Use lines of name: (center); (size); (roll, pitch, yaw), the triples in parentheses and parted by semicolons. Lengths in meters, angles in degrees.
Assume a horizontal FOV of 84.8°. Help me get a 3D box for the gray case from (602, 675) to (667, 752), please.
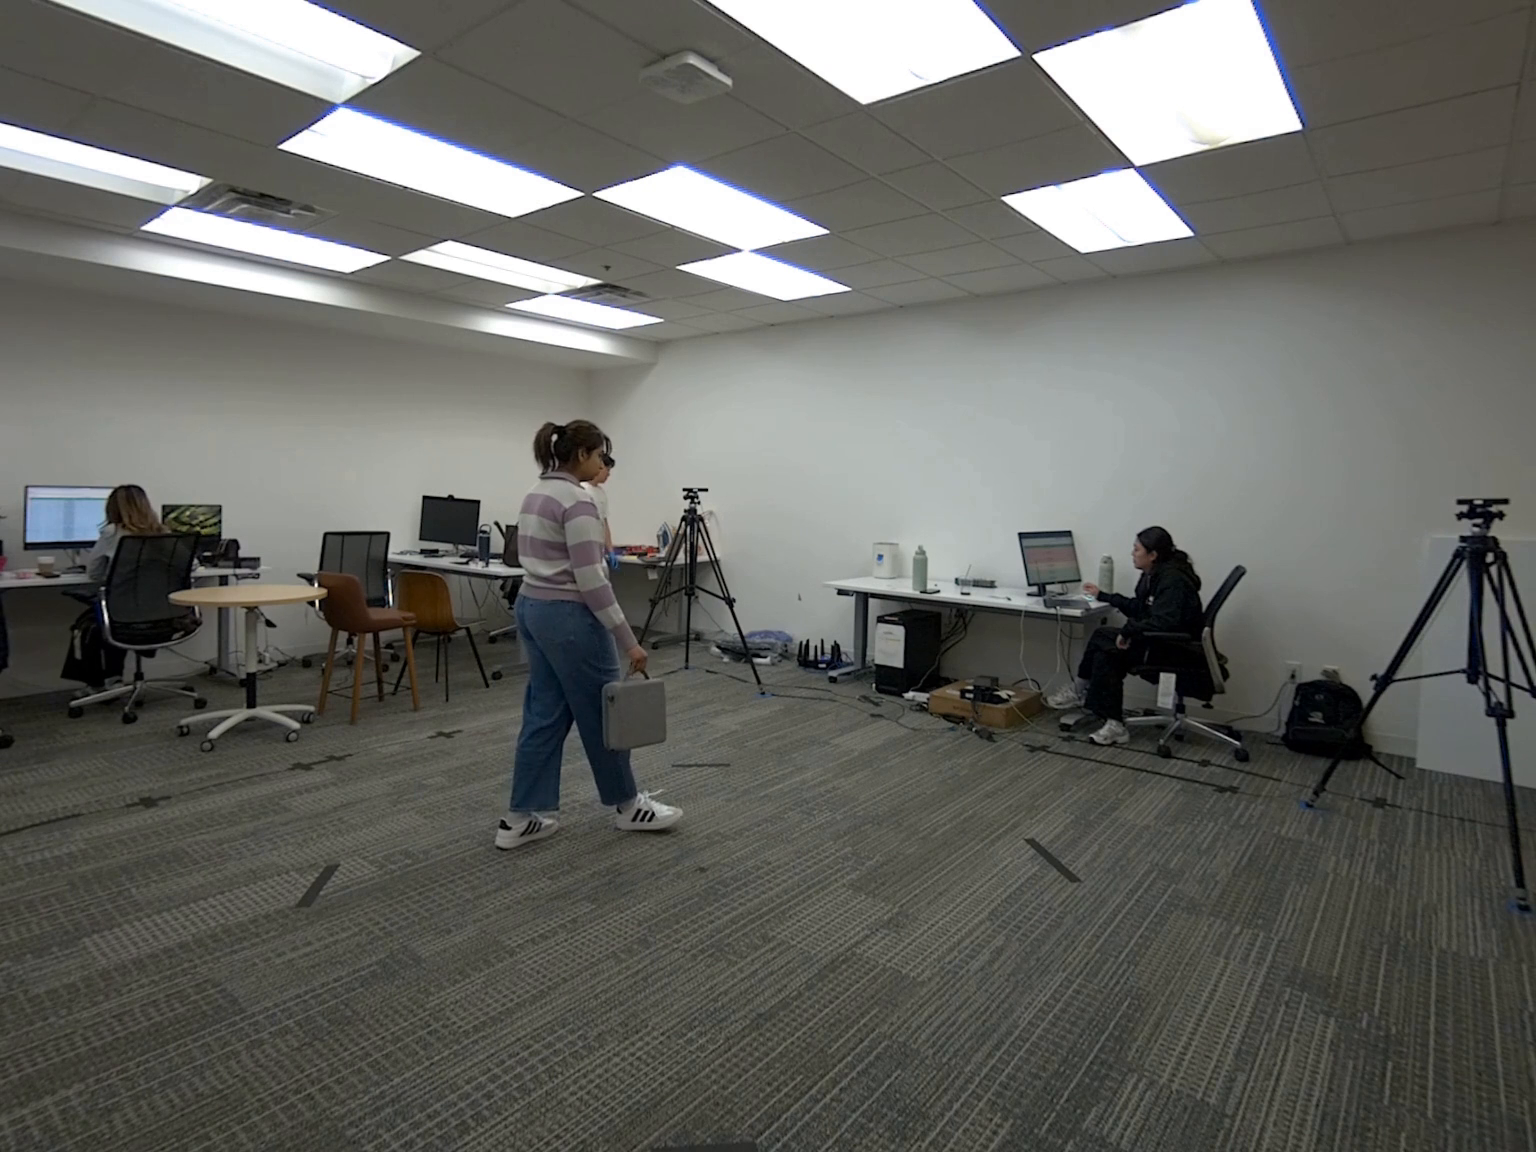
gray case: (-0.518, 0.516, 3.244); (0.107, 0.261, 0.249); (-3, -2, 44)
